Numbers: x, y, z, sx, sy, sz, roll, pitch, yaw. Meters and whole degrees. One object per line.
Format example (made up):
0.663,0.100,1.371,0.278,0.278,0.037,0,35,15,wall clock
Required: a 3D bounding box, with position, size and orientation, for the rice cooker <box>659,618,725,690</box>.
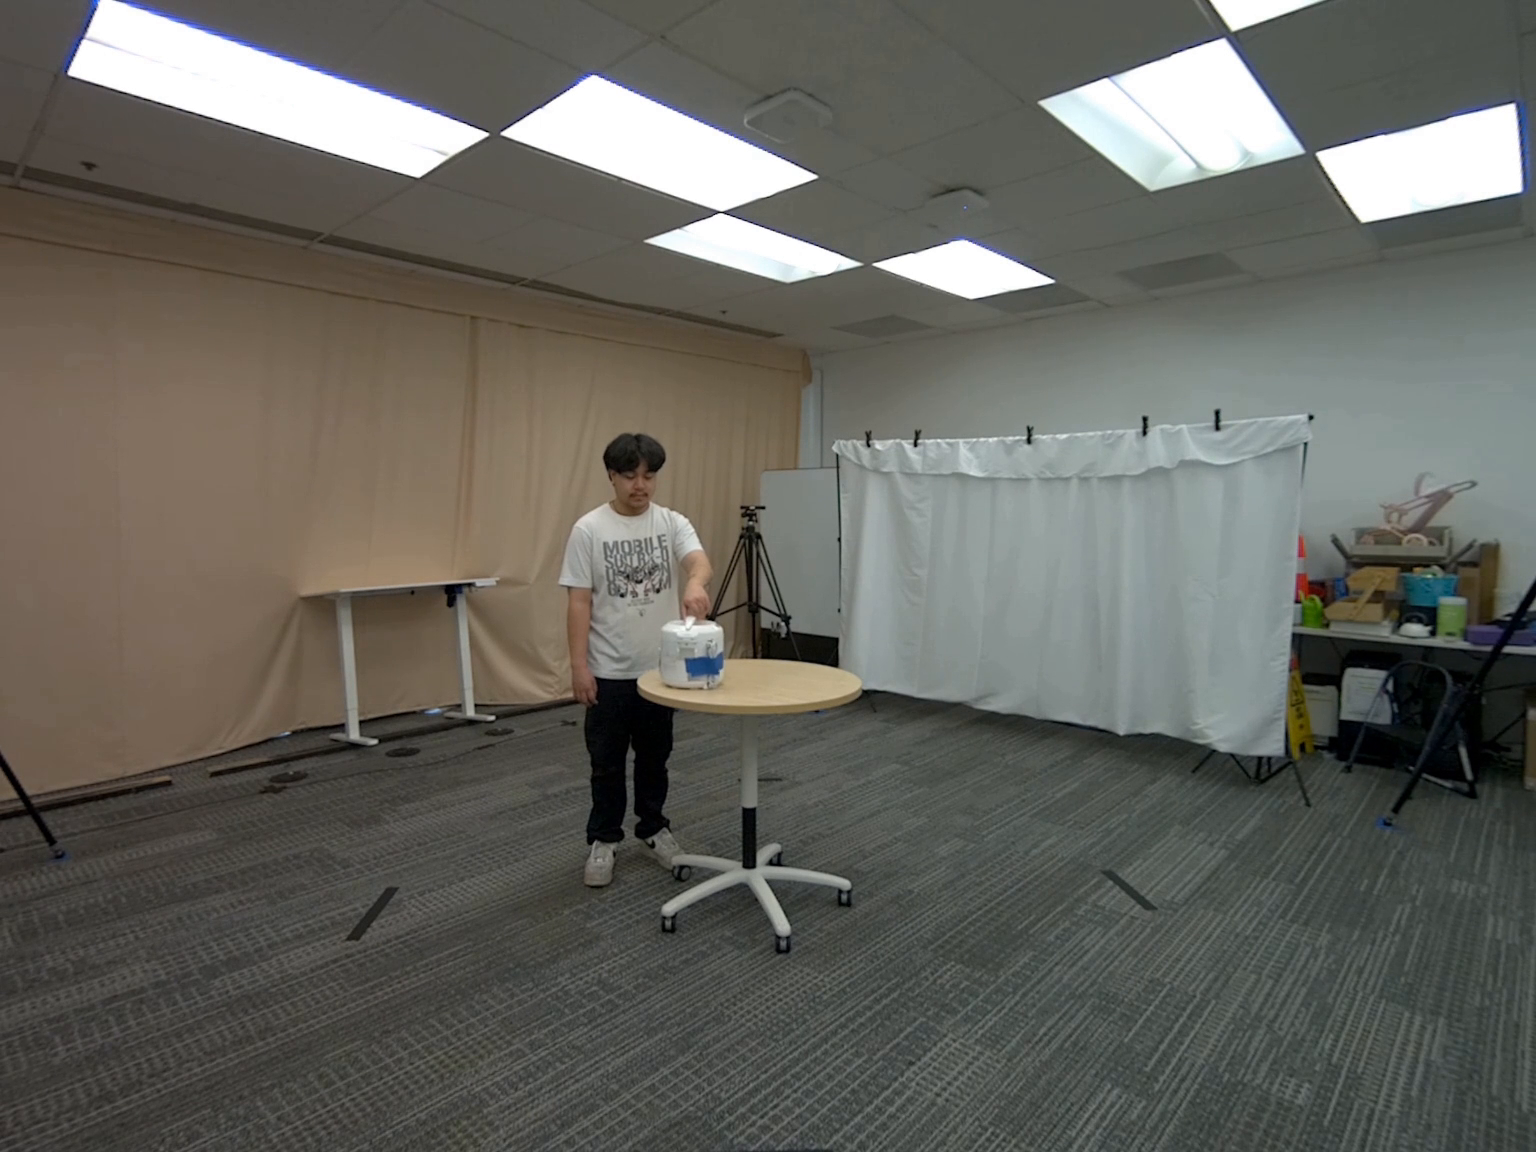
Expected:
-0.254,0.247,2.799,0.219,0.232,0.219,1,4,6,rice cooker
